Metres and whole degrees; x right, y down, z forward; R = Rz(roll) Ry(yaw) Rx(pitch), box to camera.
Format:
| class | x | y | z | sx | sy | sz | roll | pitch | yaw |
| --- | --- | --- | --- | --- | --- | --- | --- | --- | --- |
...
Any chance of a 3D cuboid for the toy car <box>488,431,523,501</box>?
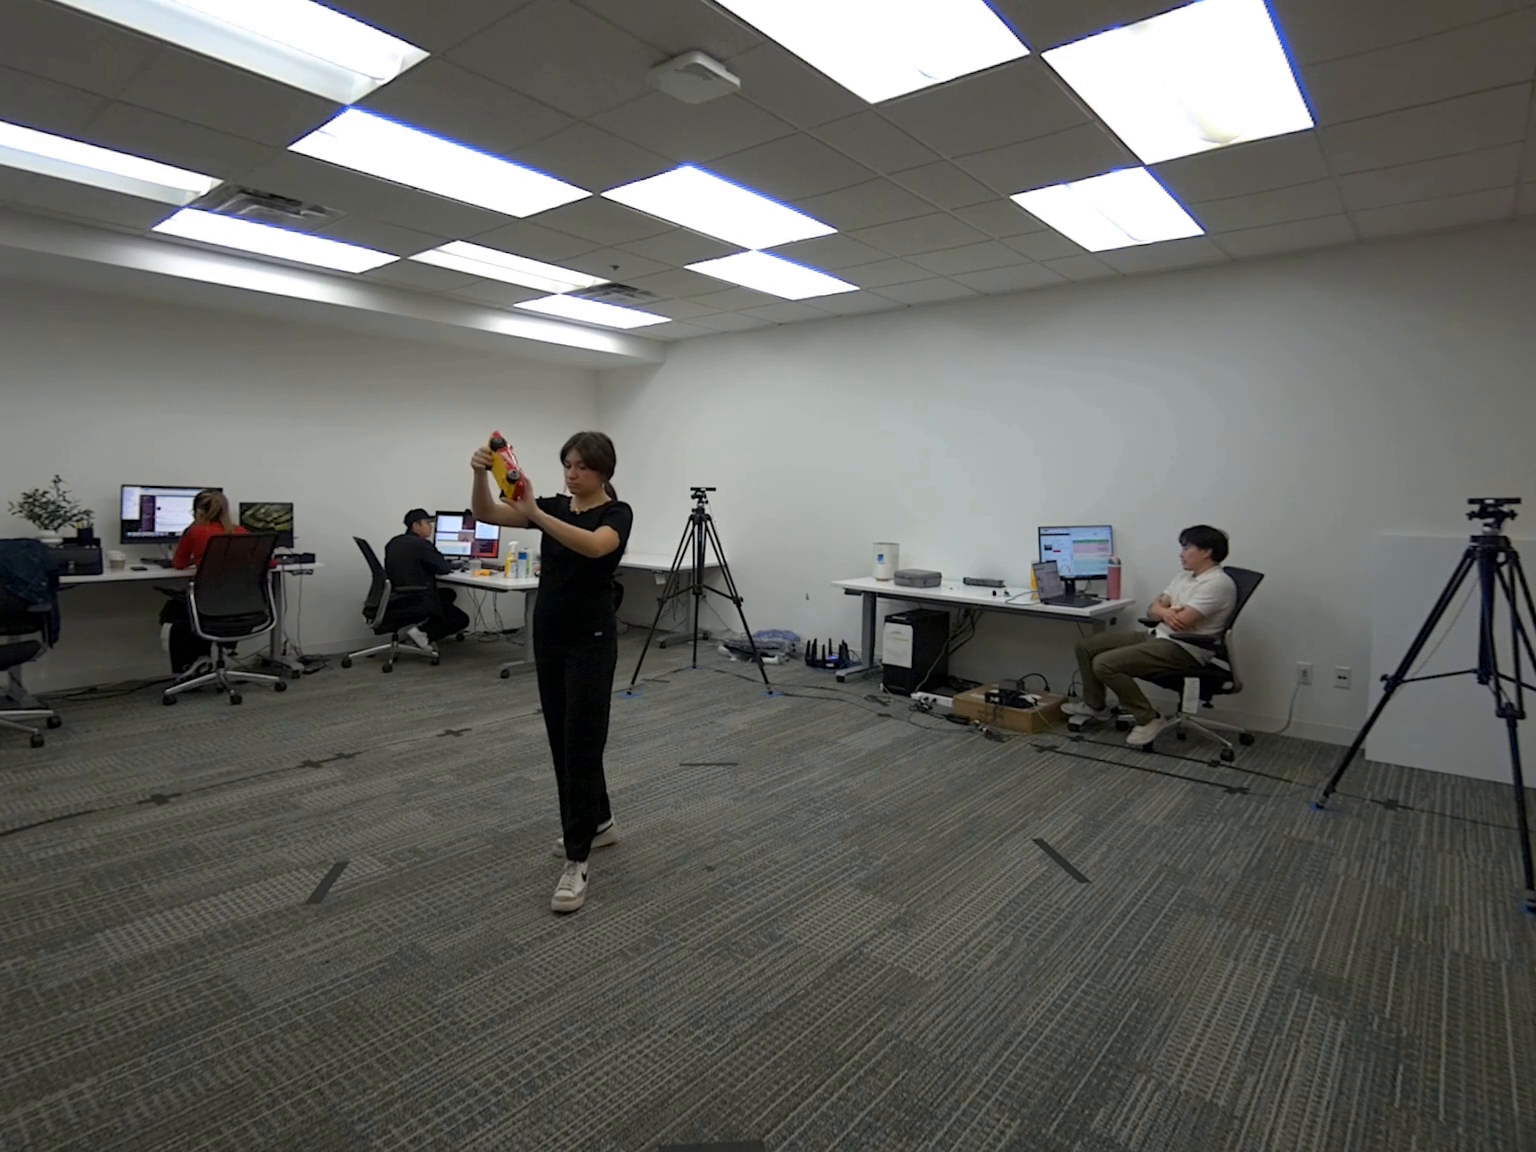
| class | x | y | z | sx | sy | sz | roll | pitch | yaw |
| --- | --- | --- | --- | --- | --- | --- | --- | --- | --- |
| toy car | -0.862 | -0.354 | 2.719 | 0.081 | 0.264 | 0.129 | 1 | -39 | -32 |
